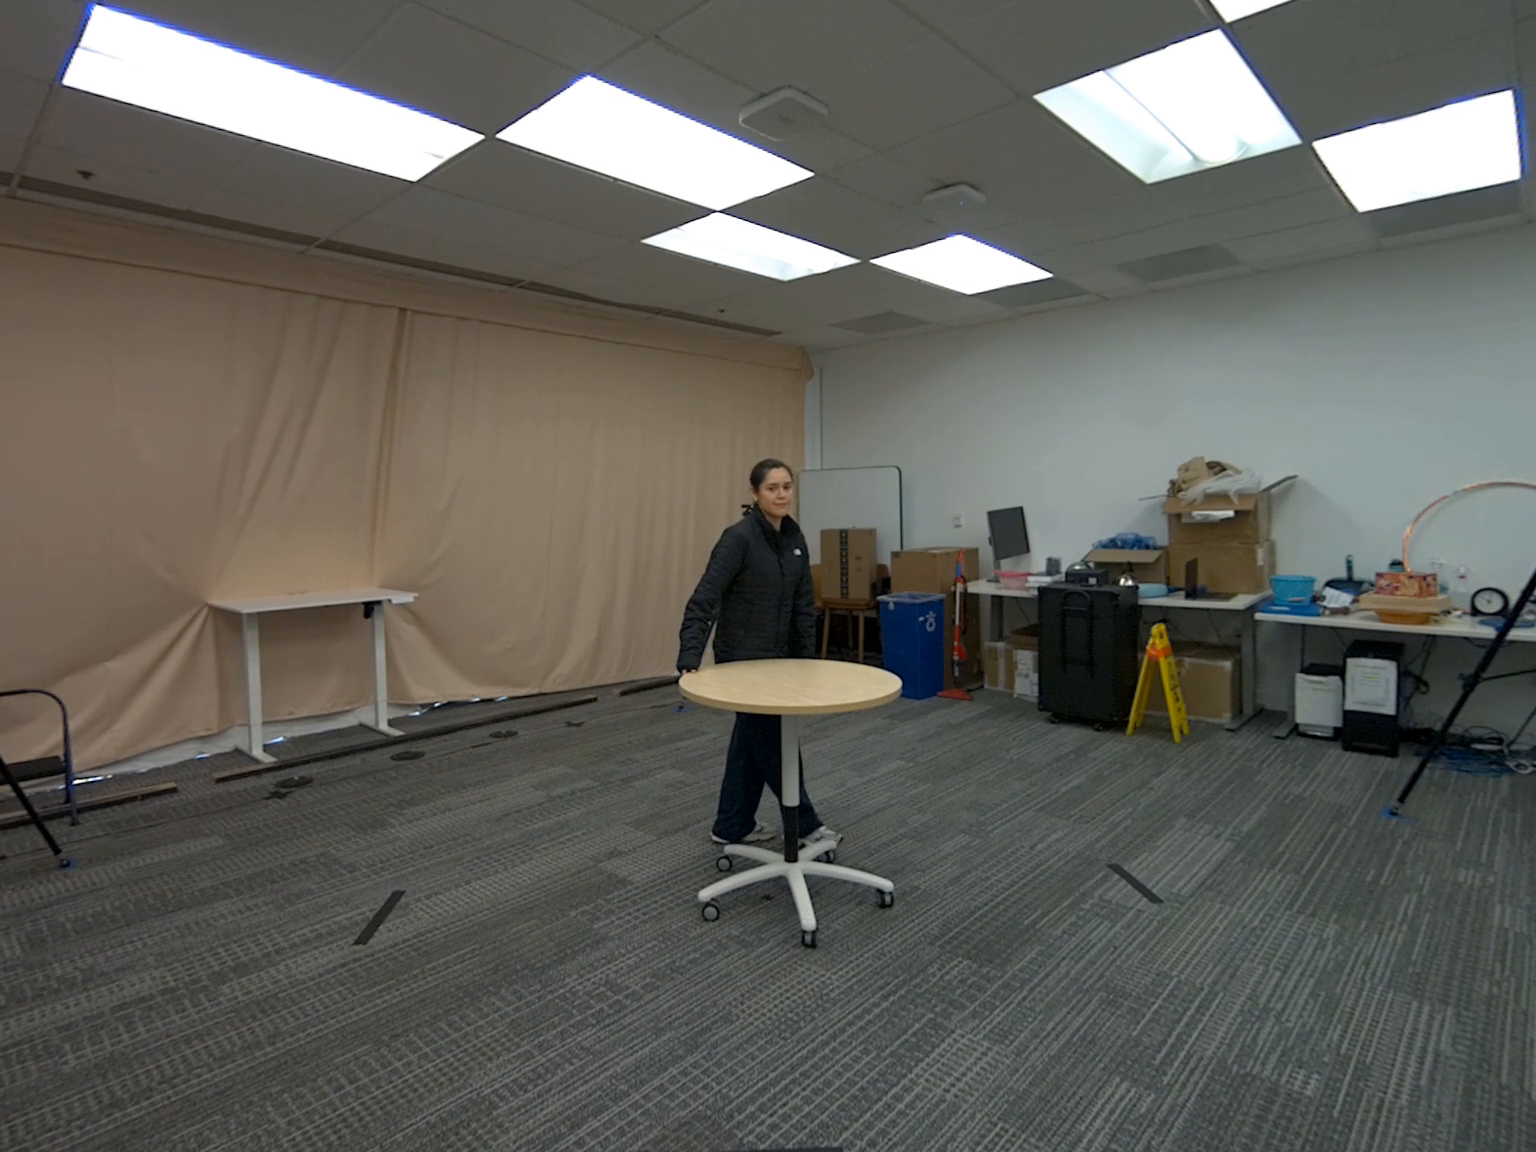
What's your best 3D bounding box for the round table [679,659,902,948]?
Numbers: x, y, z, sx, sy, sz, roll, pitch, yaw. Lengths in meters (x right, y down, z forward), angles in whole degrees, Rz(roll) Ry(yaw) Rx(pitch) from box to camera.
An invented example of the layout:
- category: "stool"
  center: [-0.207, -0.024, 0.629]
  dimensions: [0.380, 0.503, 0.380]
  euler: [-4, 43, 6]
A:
- category: "round table"
  center: [0.094, 0.745, 2.937]
  dimensions: [0.784, 0.784, 0.788]
  euler: [-1, 4, -2]
